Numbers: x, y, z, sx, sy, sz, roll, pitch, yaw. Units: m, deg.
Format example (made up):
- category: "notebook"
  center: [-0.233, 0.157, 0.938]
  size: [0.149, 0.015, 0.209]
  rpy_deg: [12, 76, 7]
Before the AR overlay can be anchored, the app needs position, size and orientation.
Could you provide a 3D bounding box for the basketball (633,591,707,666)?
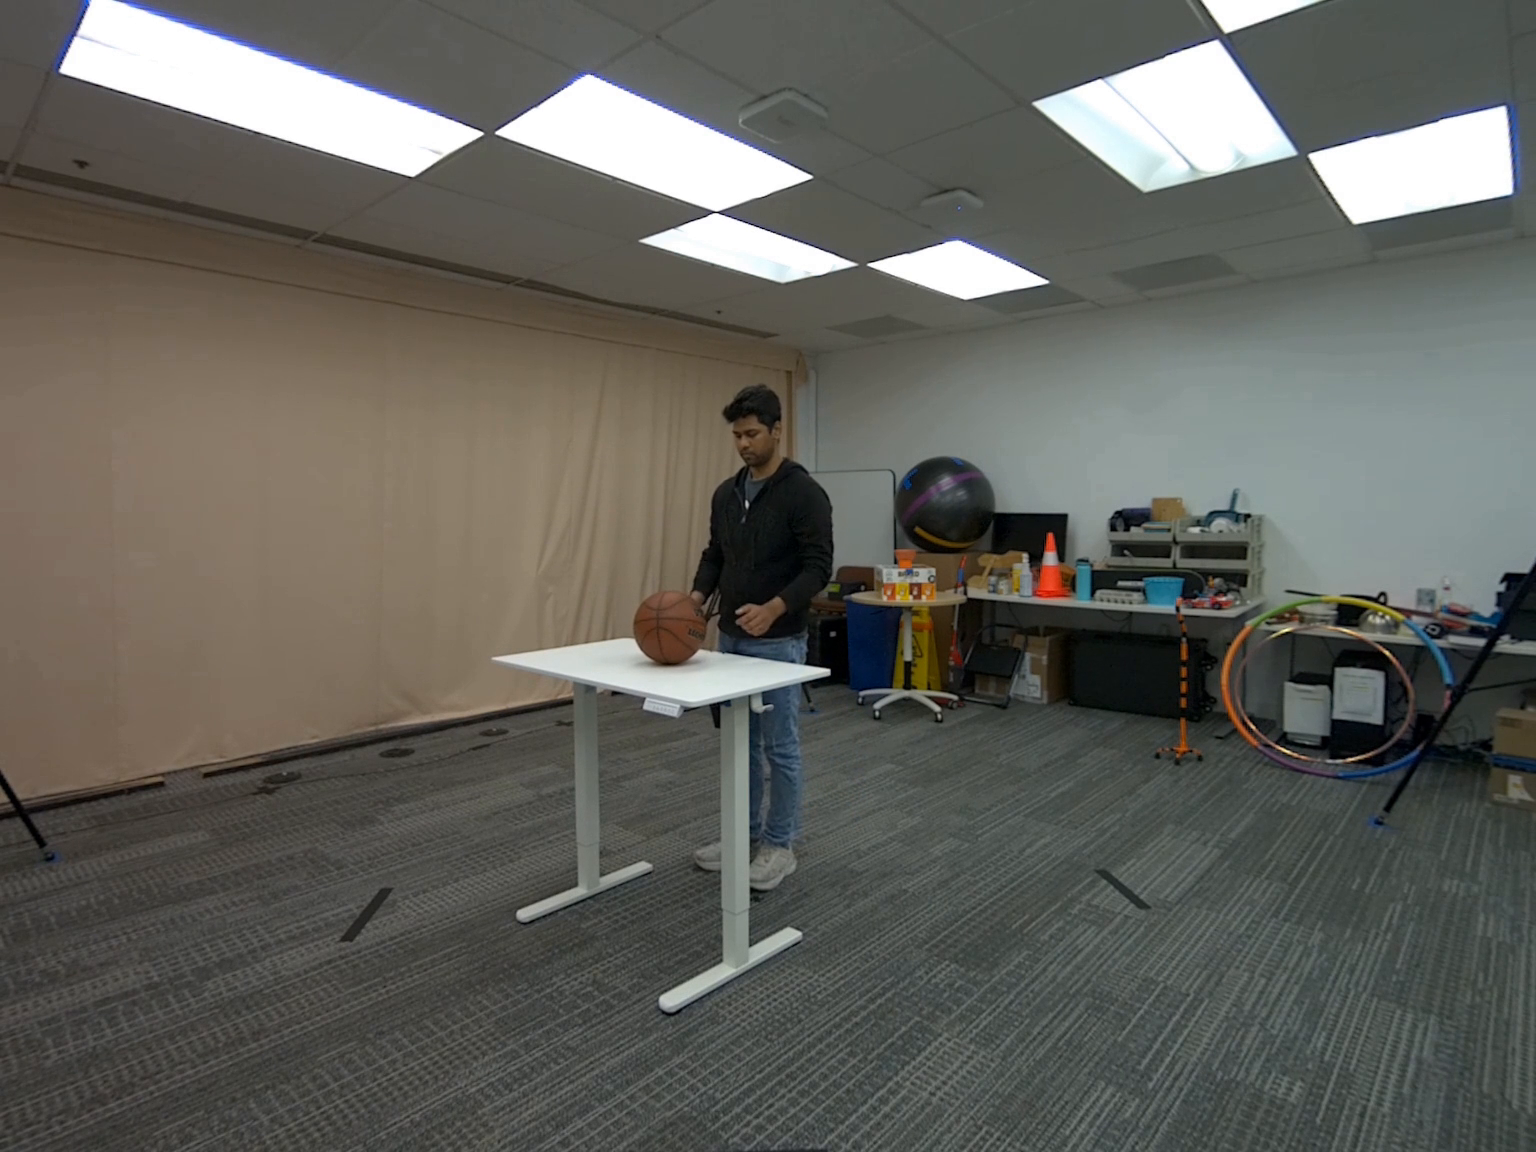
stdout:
- category: "basketball"
  center: [-0.316, 0.167, 2.729]
  size: [0.236, 0.235, 0.237]
  rpy_deg: [0, 4, -2]
